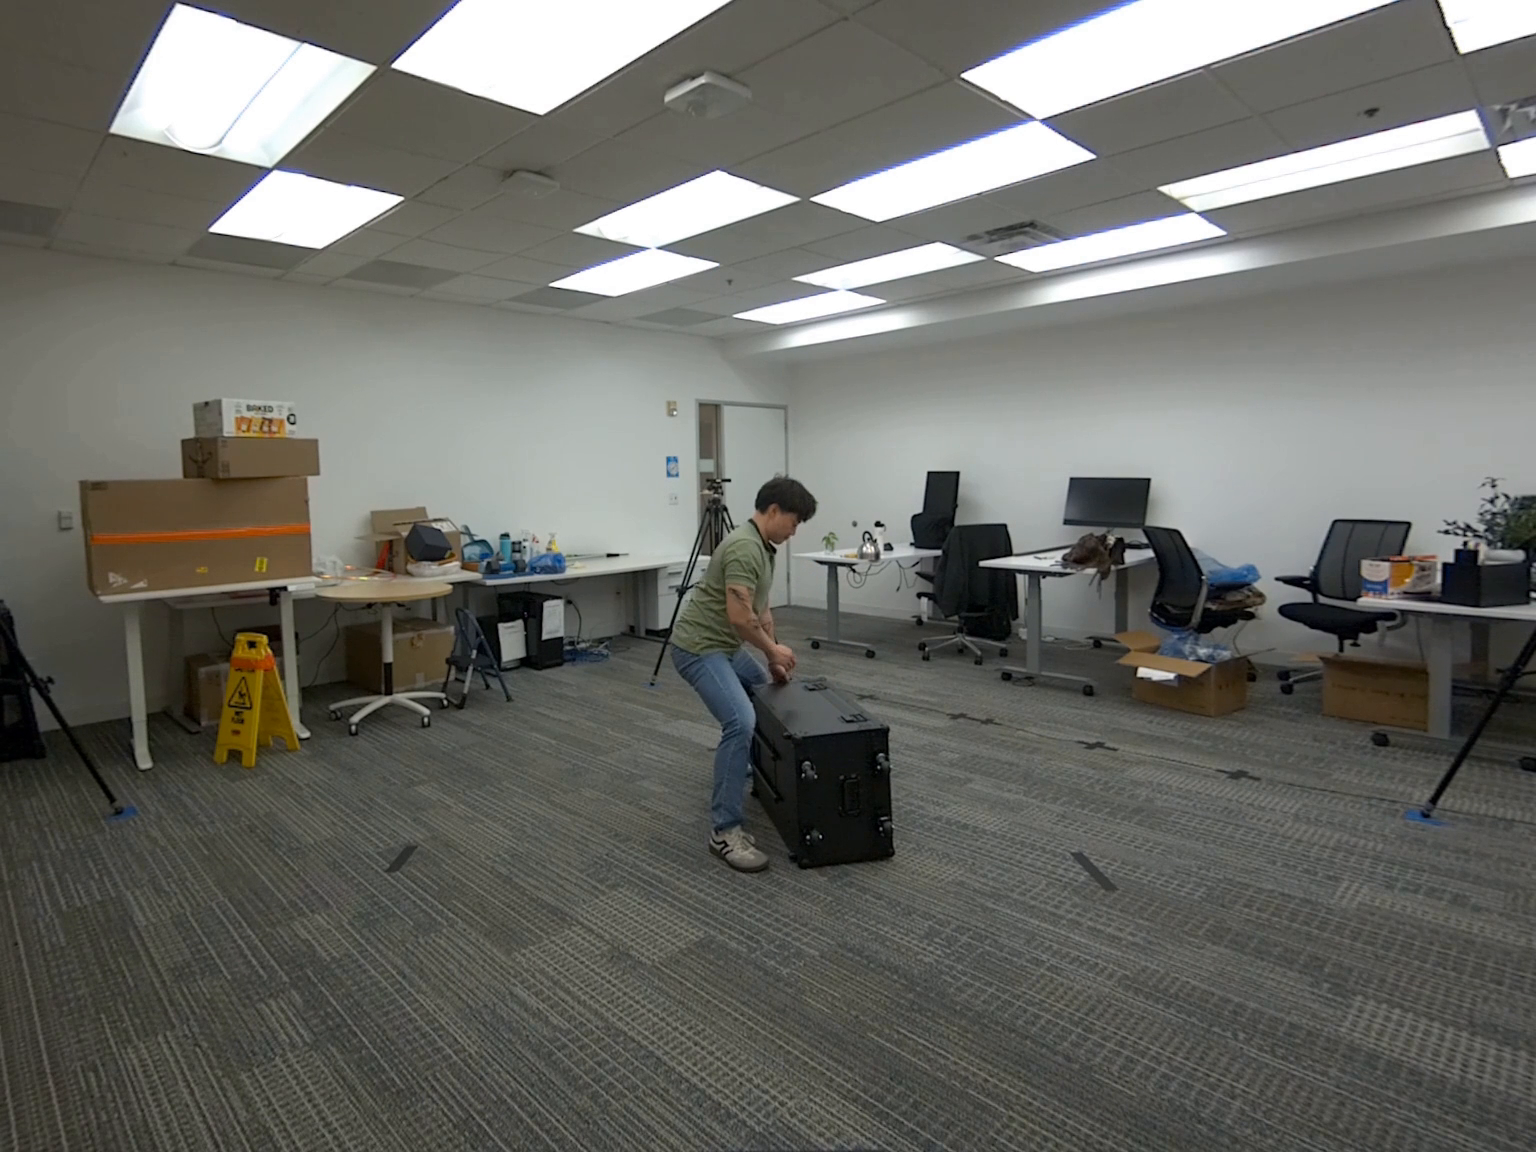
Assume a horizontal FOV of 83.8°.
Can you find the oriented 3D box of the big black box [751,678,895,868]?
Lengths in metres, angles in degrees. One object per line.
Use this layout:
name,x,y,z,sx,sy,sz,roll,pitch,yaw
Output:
big black box,0.180,0.748,3.402,0.392,0.519,0.875,-4,6,-13
